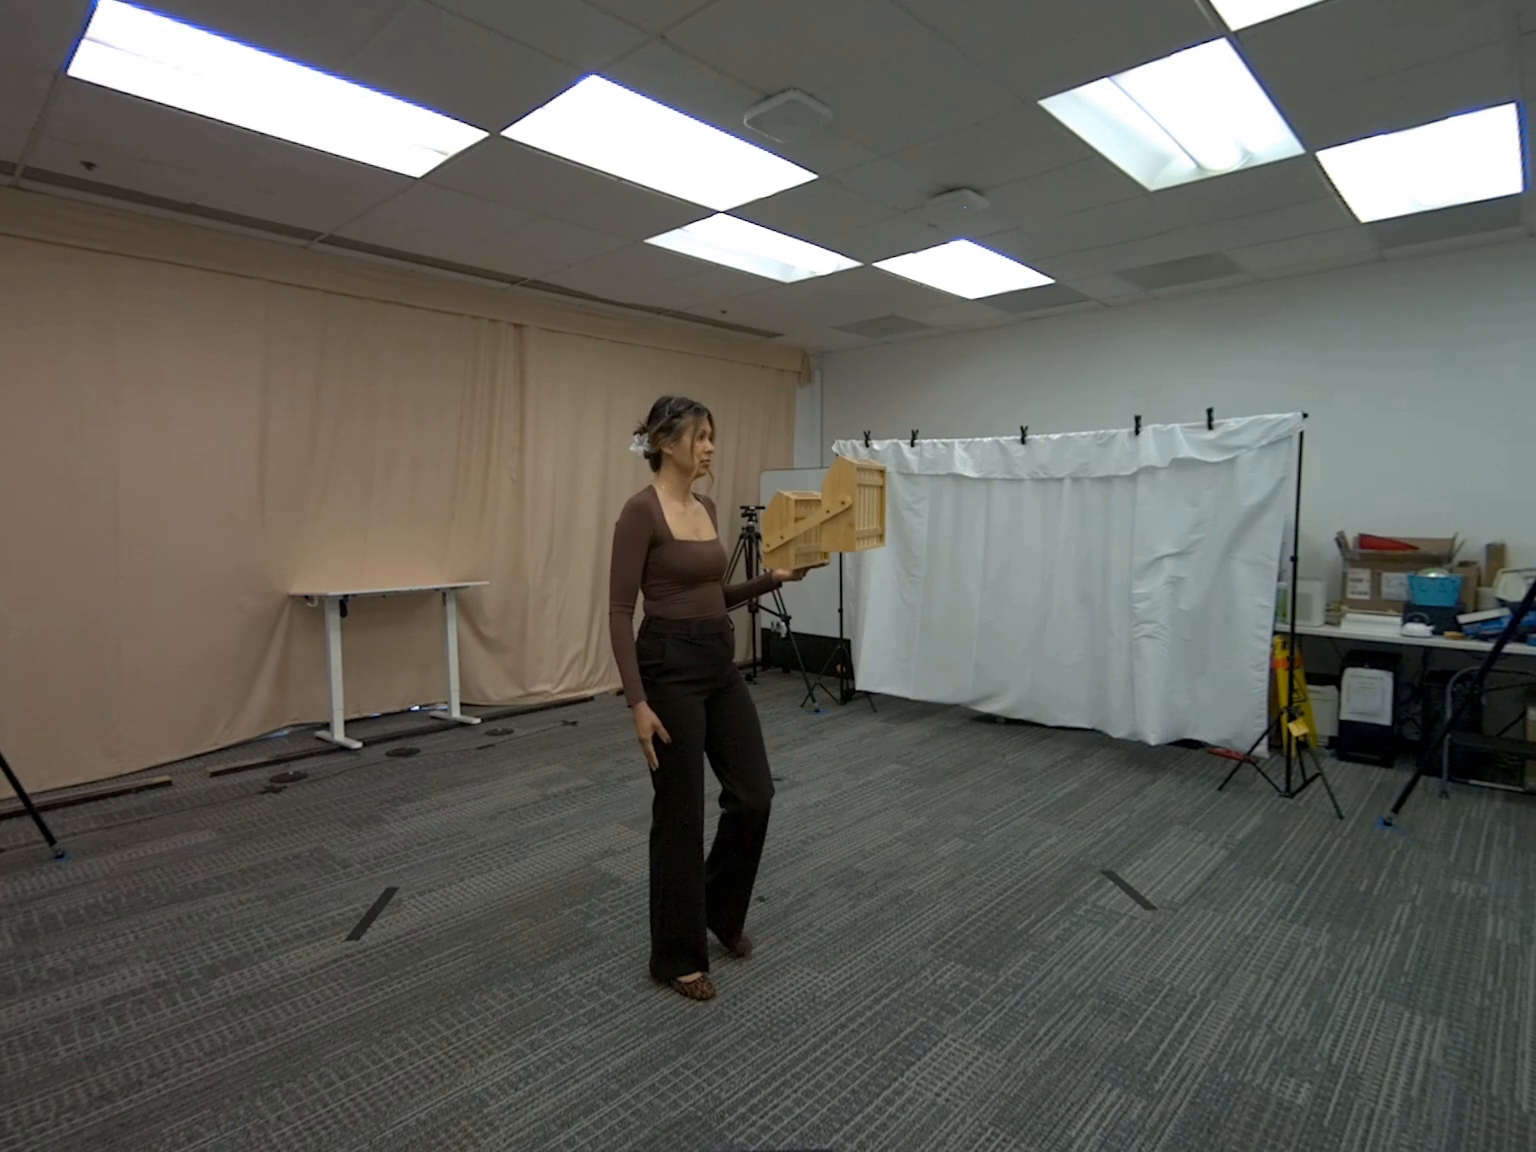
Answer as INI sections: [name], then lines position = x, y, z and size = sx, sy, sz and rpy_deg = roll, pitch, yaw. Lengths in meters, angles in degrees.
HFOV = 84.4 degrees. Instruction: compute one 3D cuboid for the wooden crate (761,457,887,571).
[wooden crate]
position = 0.164, -0.178, 2.337
size = 0.280, 0.301, 0.317
rpy_deg = 2, 5, 24
